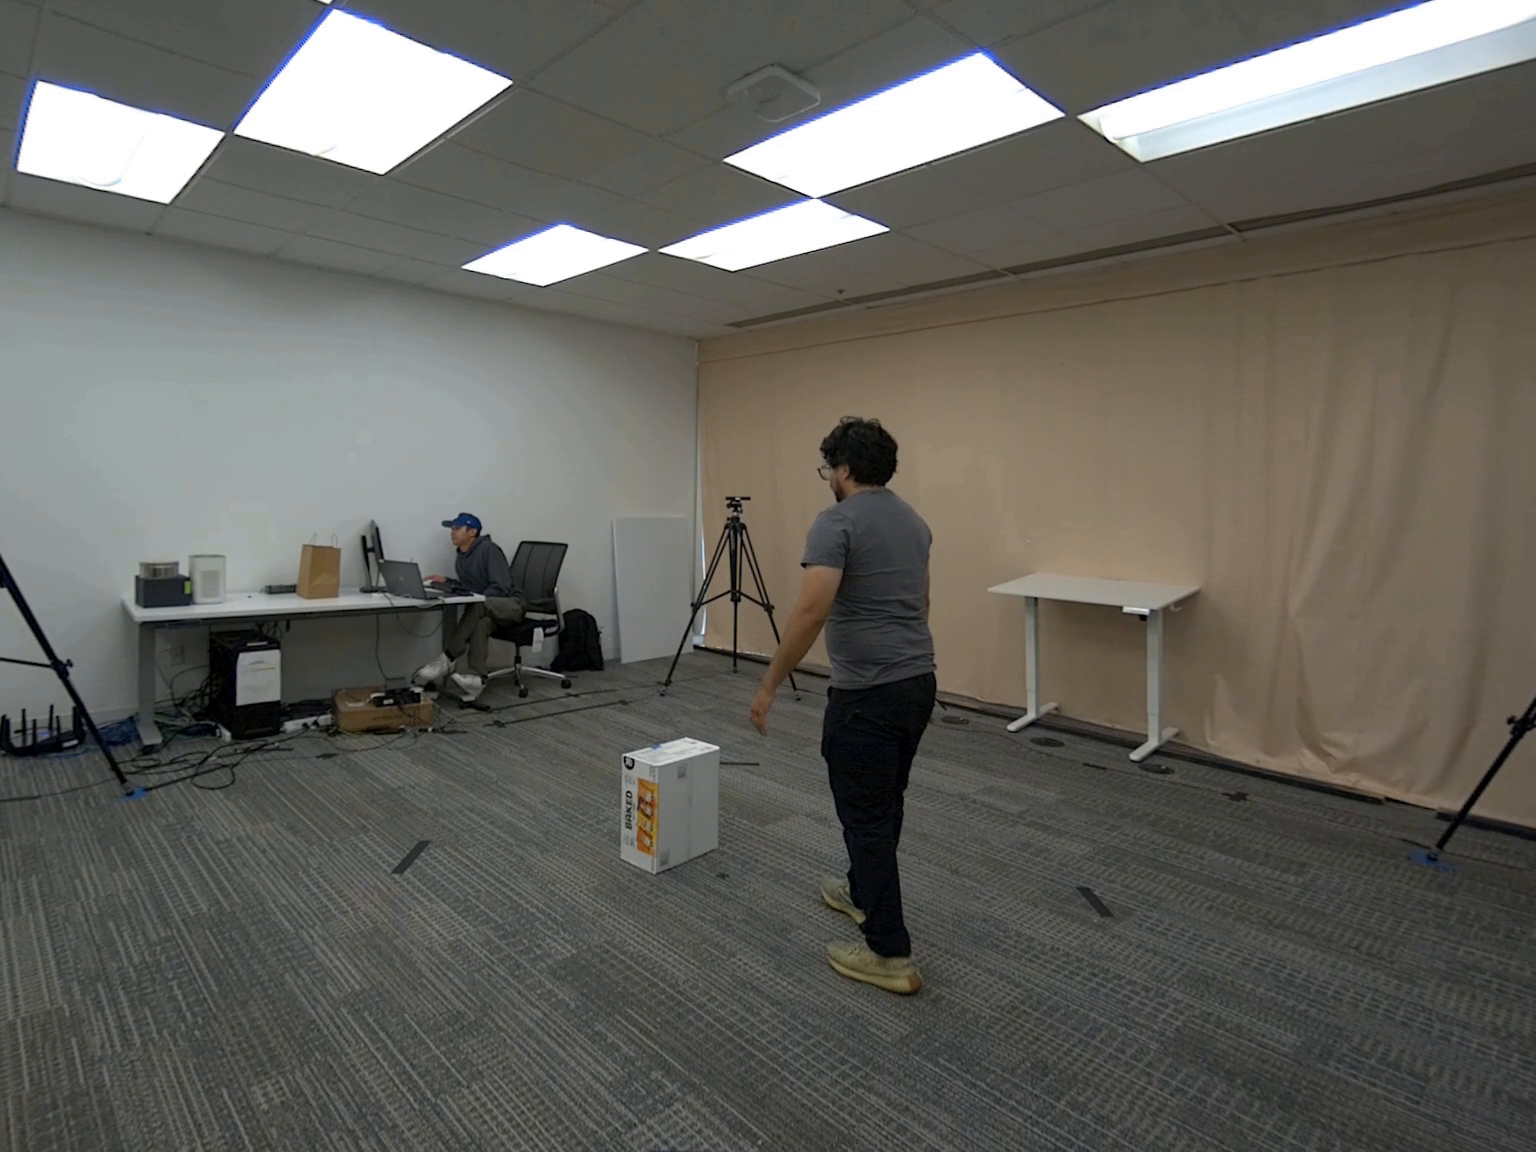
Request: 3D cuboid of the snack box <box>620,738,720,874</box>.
[{"bbox_3d":[-0.383,0.882,3.277,0.211,0.404,0.332,4,4,41],"label":"snack box"}]
